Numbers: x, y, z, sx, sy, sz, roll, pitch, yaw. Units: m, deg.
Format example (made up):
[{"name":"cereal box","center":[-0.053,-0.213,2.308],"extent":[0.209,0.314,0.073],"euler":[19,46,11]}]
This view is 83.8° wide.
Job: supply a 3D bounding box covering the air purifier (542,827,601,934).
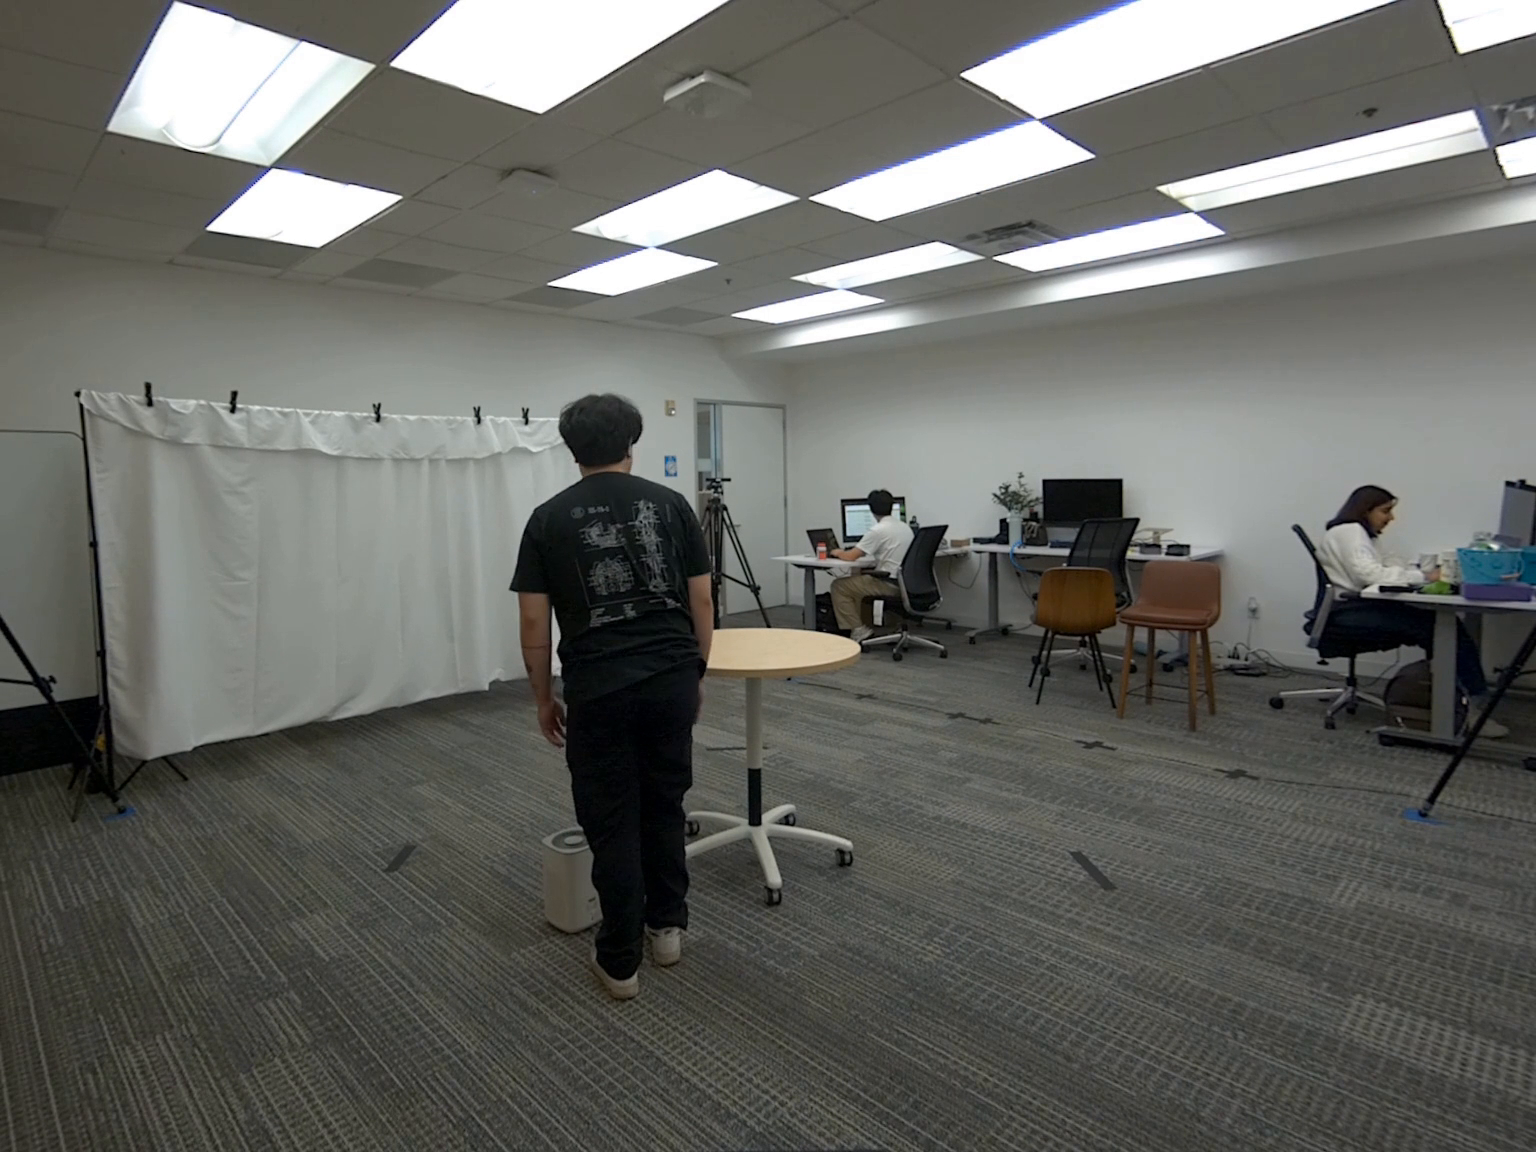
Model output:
[{"name":"air purifier","center":[-0.609,0.960,2.698],"extent":[0.177,0.264,0.167],"euler":[4,7,42]}]
